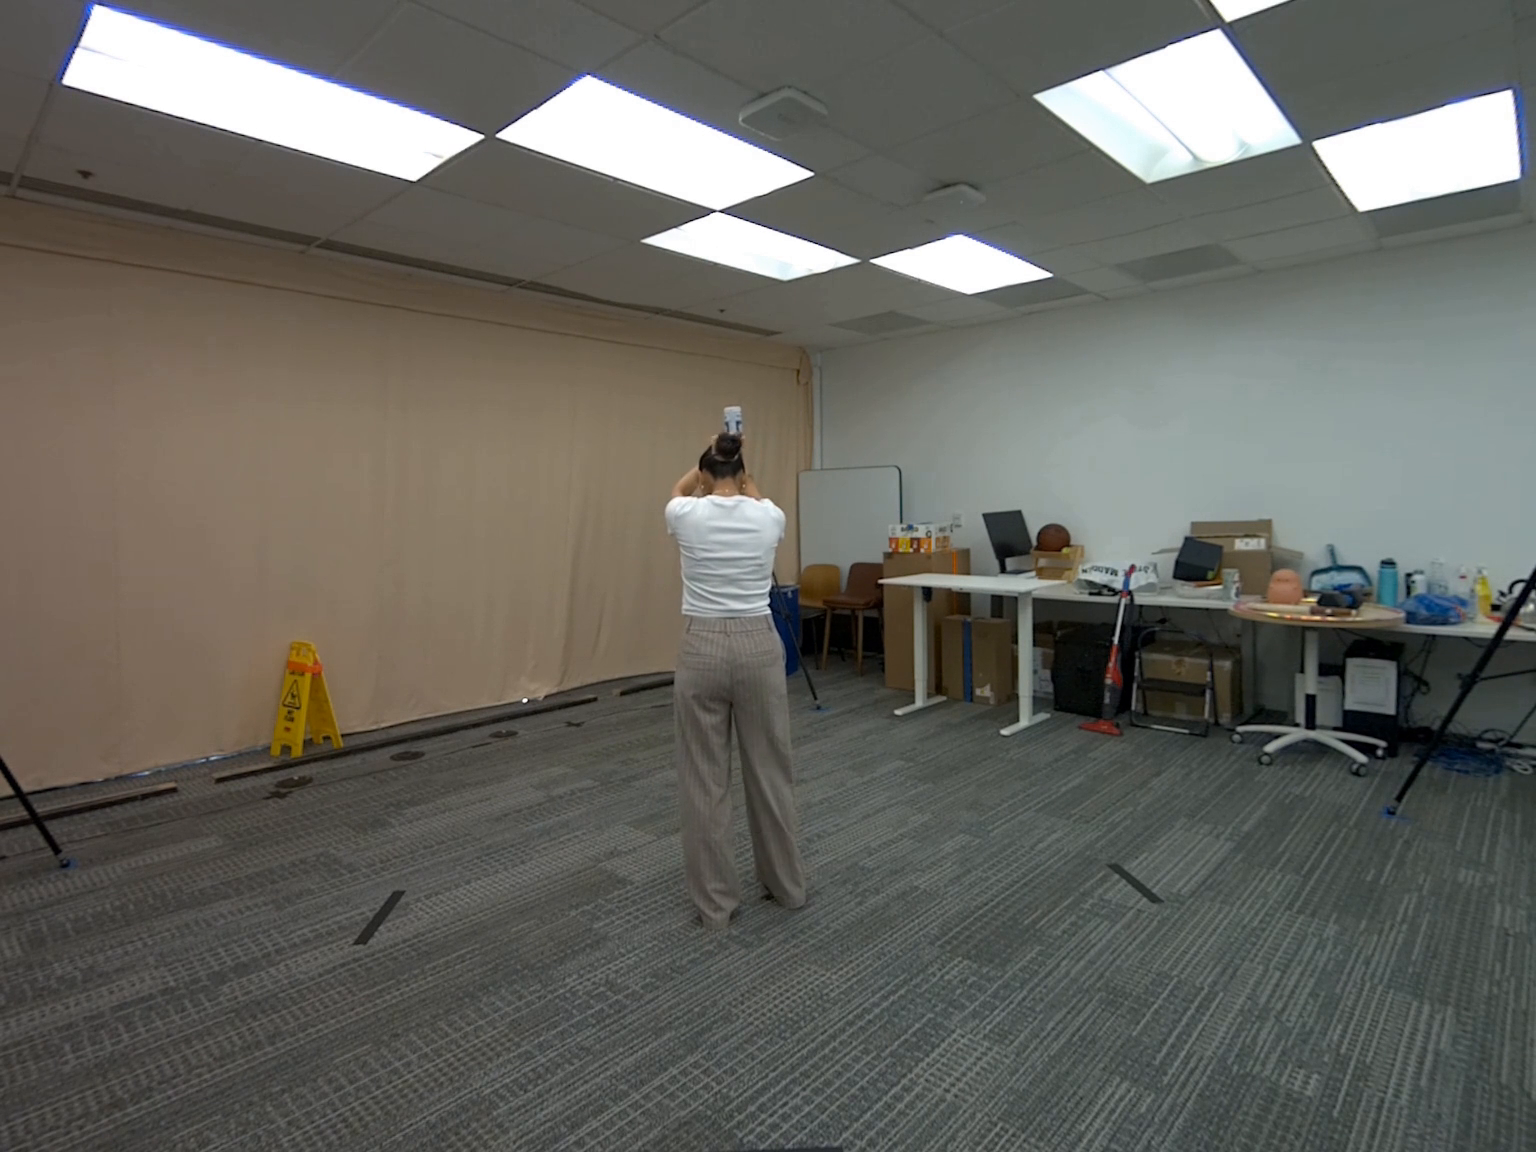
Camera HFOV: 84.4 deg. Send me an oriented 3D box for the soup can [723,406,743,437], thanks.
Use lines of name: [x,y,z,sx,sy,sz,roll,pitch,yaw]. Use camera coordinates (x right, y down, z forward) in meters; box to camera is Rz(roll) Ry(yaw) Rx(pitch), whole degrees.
soup can: [-0.125,-0.585,3.221,0.067,0.121,0.067,-3,2,-2]
